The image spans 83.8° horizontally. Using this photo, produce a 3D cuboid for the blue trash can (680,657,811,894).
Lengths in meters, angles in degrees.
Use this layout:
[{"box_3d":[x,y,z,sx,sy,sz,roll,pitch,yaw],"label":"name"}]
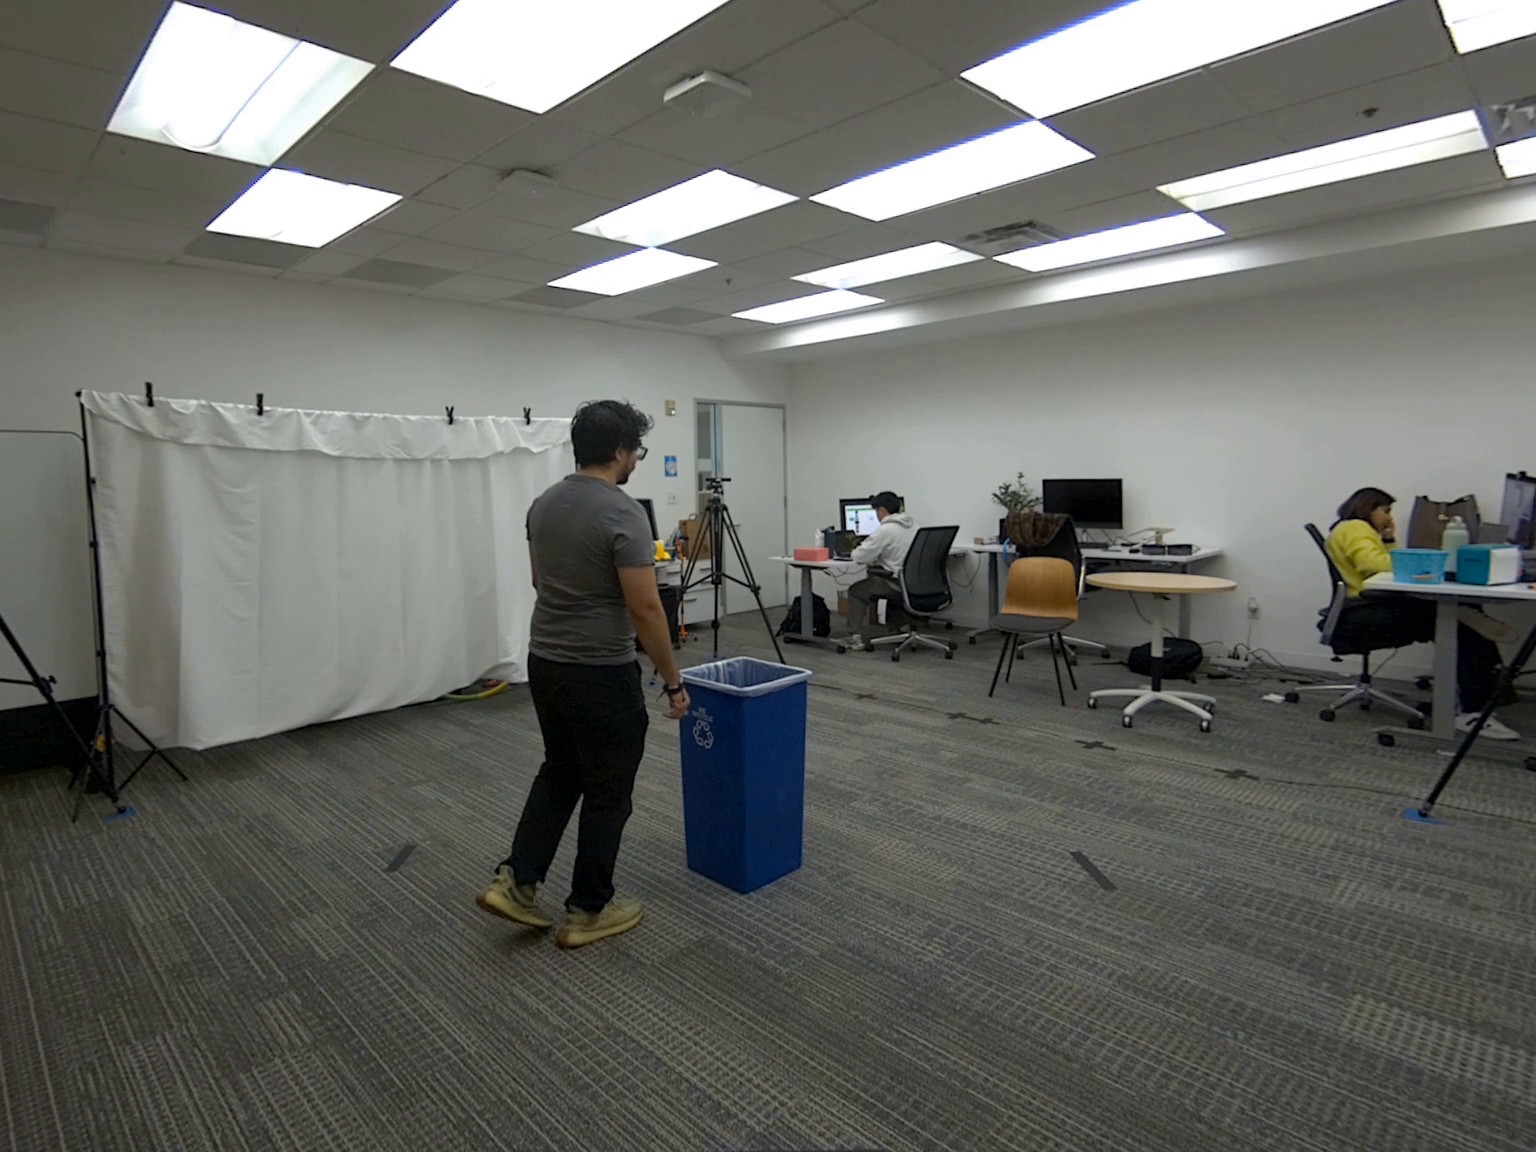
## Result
[{"box_3d":[-0.084,0.692,3.058,0.390,0.710,0.364,4,7,44],"label":"blue trash can"}]
